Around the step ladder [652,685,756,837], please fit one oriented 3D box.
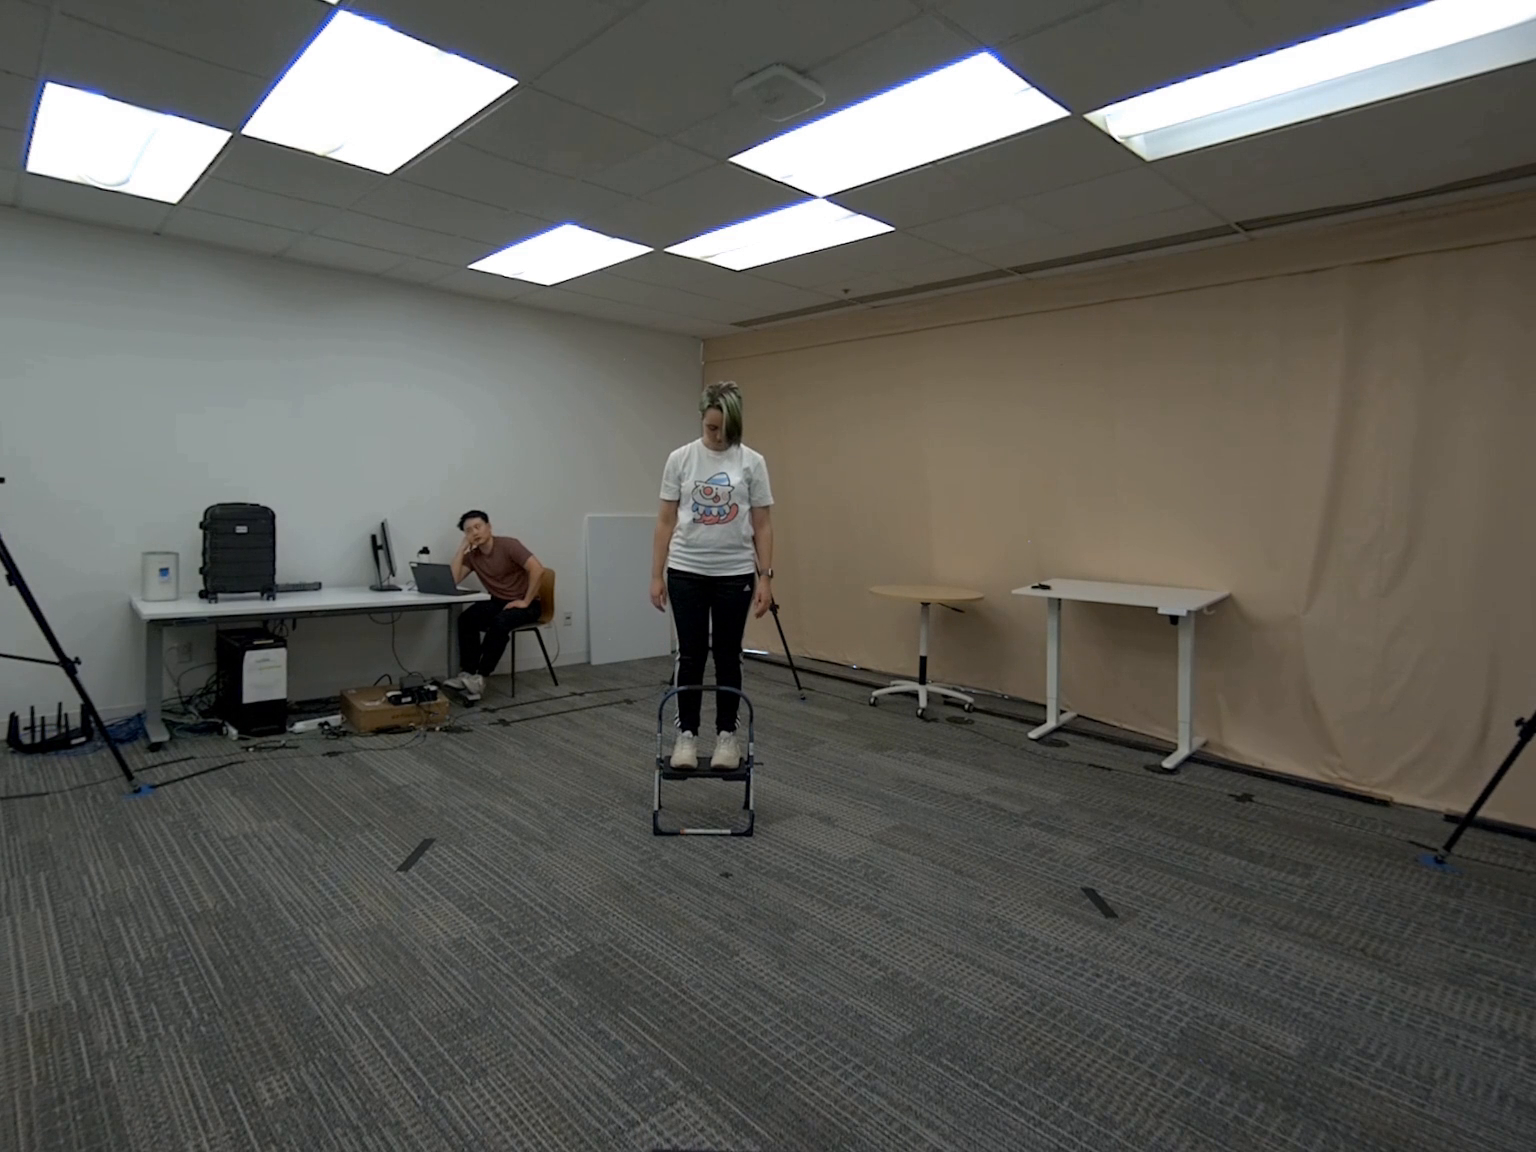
[{"bbox_3d":[-0.282,0.757,3.613,0.429,0.605,0.351,1,2,-4],"label":"step ladder"}]
